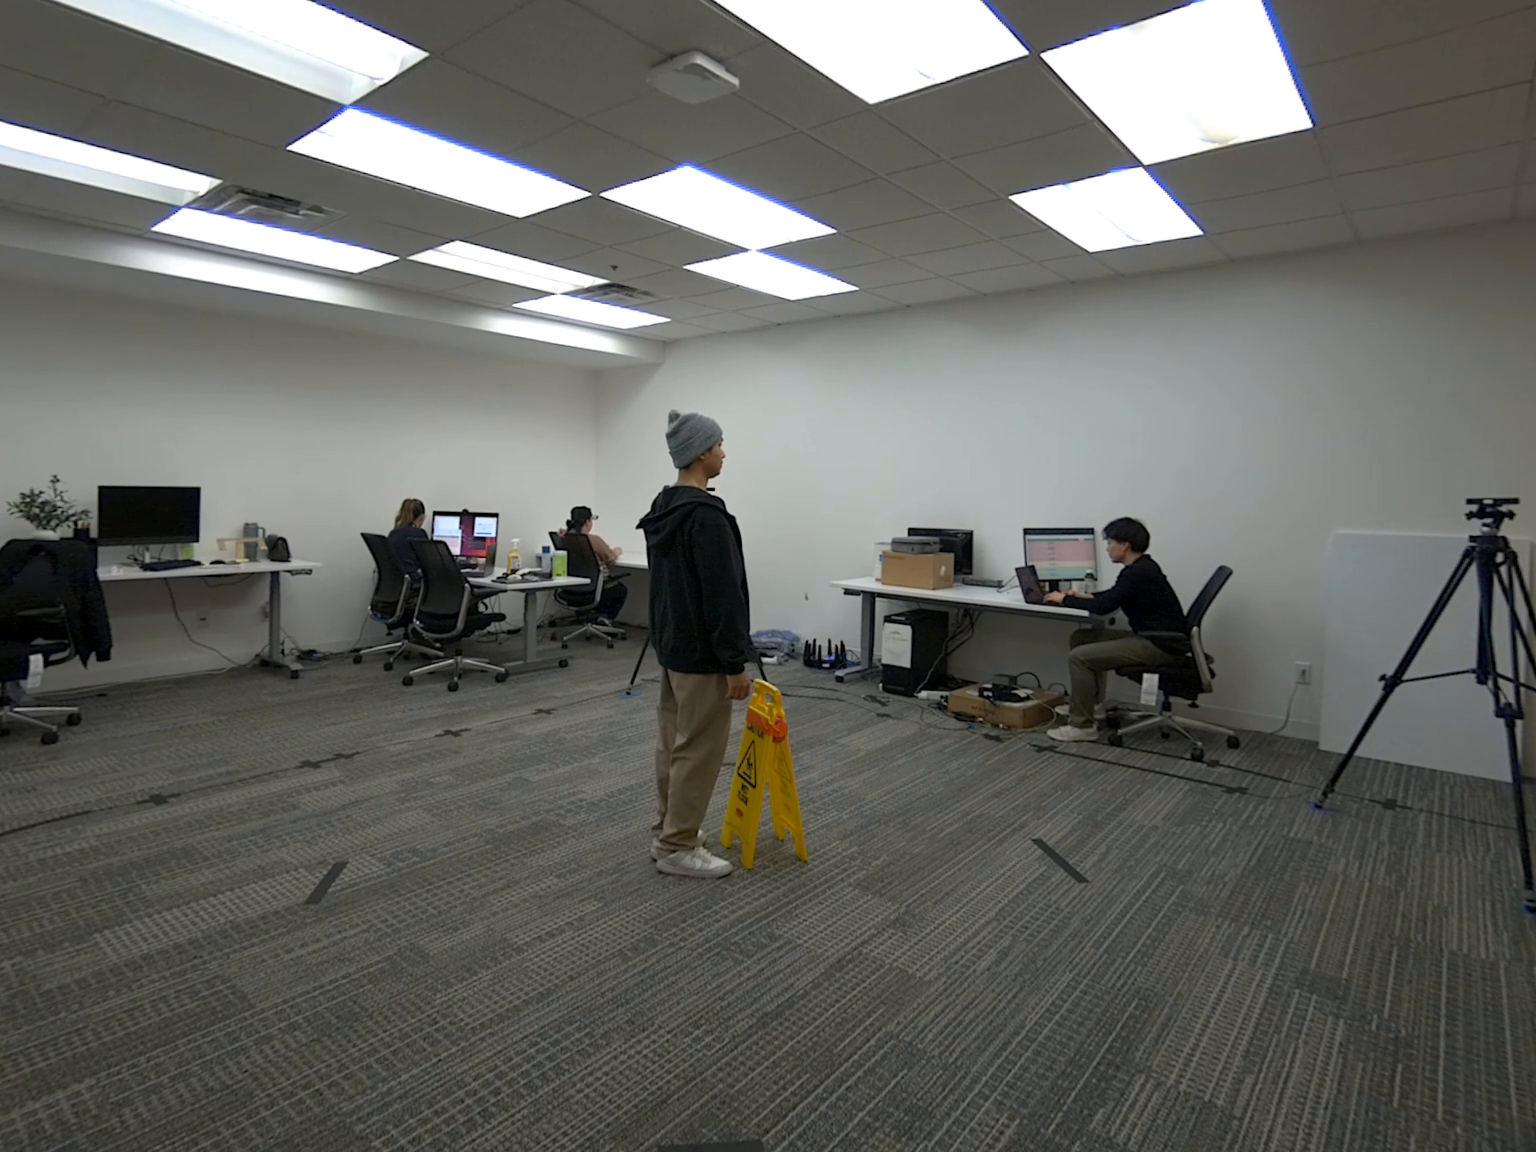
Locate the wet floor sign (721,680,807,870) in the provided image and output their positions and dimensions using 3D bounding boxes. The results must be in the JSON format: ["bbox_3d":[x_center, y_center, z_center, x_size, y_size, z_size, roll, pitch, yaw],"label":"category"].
[{"bbox_3d":[-0.019,0.729,3.252,0.283,0.644,0.289,2,4,-22],"label":"wet floor sign"}]
